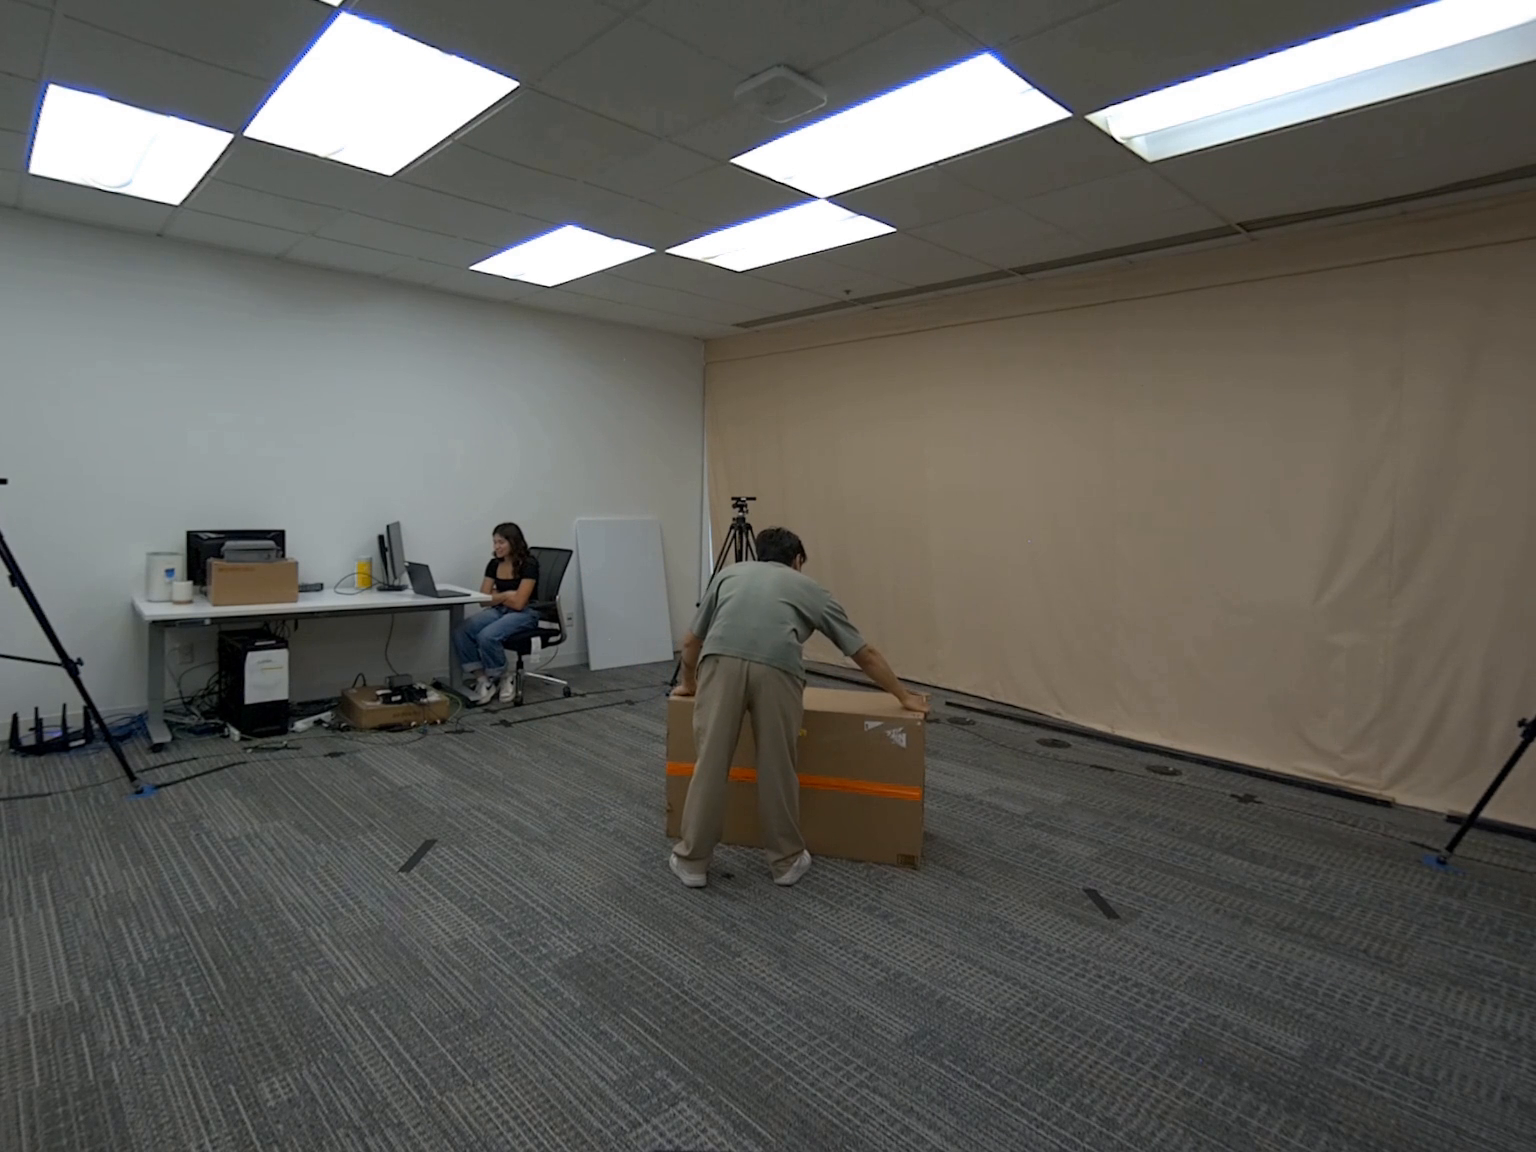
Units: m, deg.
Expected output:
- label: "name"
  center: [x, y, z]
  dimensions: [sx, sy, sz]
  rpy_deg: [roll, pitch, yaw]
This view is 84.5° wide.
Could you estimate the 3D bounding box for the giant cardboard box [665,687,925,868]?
- label: "giant cardboard box"
  center: [0.124, 0.782, 3.520]
  dimensions: [1.038, 0.576, 0.422]
  rpy_deg: [2, 3, 14]
